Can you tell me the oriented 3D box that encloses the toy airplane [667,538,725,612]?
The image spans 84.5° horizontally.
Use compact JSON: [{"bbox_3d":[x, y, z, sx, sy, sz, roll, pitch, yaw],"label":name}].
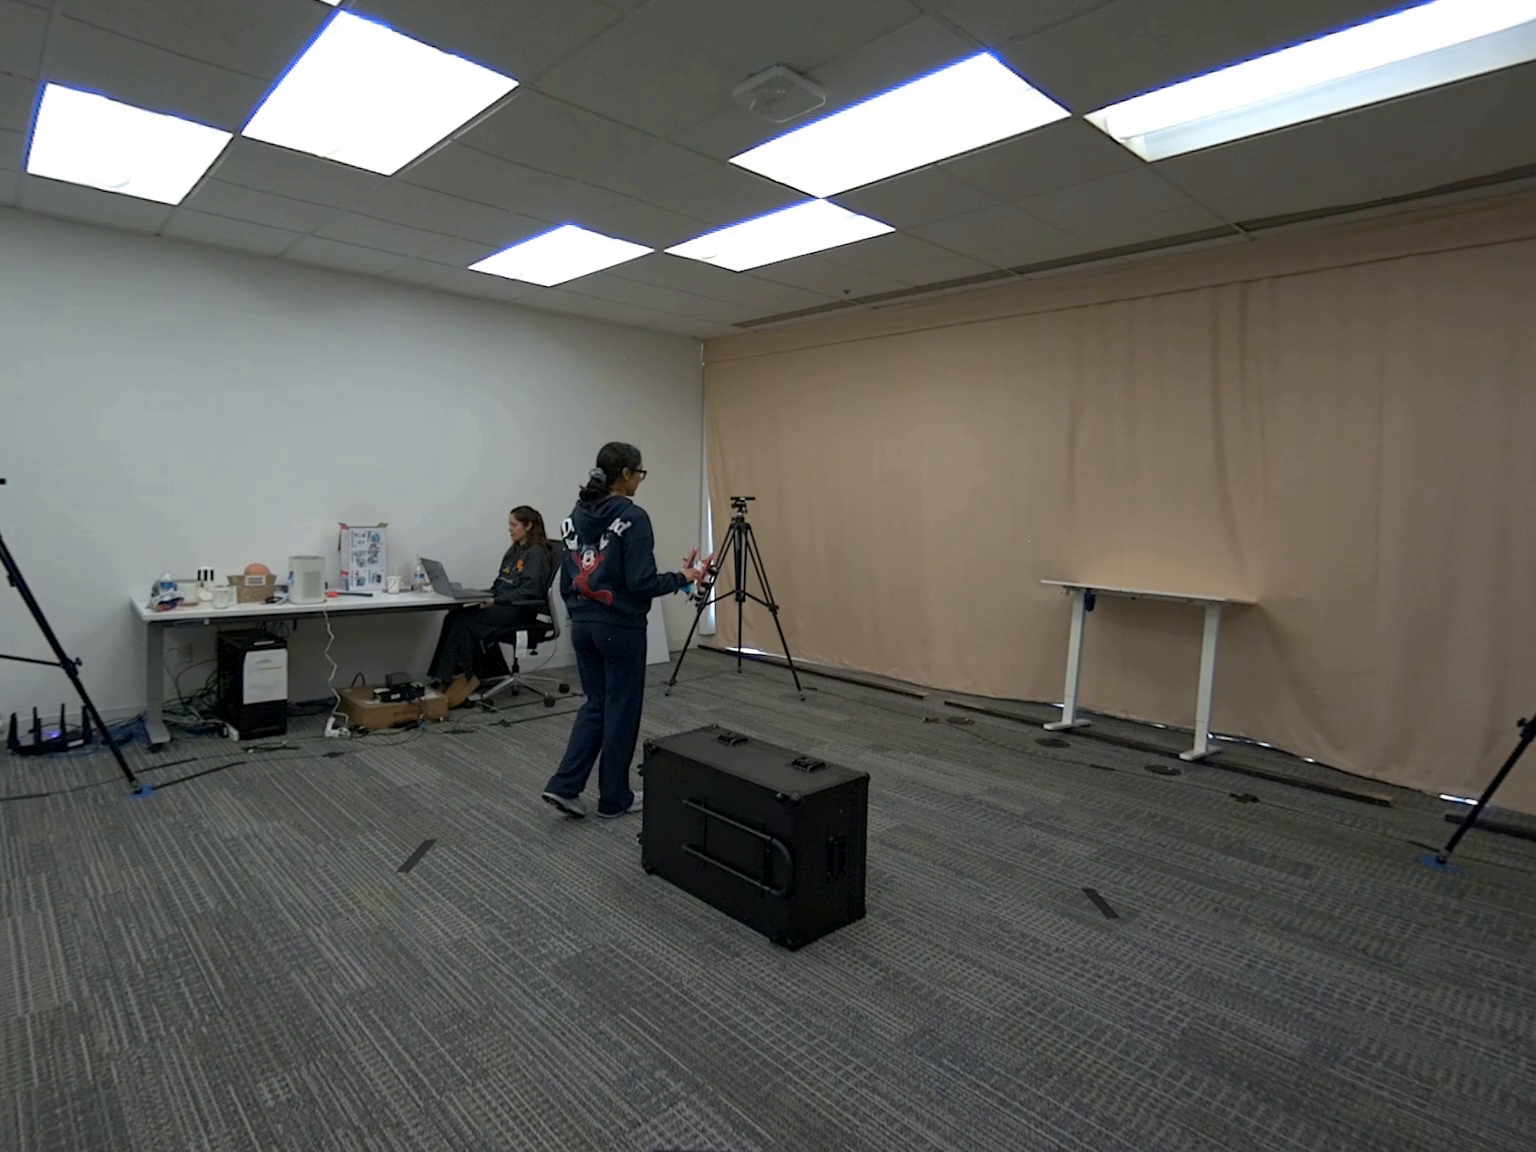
[{"bbox_3d":[-0.337,-0.002,3.749,0.158,0.251,0.257,28,-5,6],"label":"toy airplane"}]
